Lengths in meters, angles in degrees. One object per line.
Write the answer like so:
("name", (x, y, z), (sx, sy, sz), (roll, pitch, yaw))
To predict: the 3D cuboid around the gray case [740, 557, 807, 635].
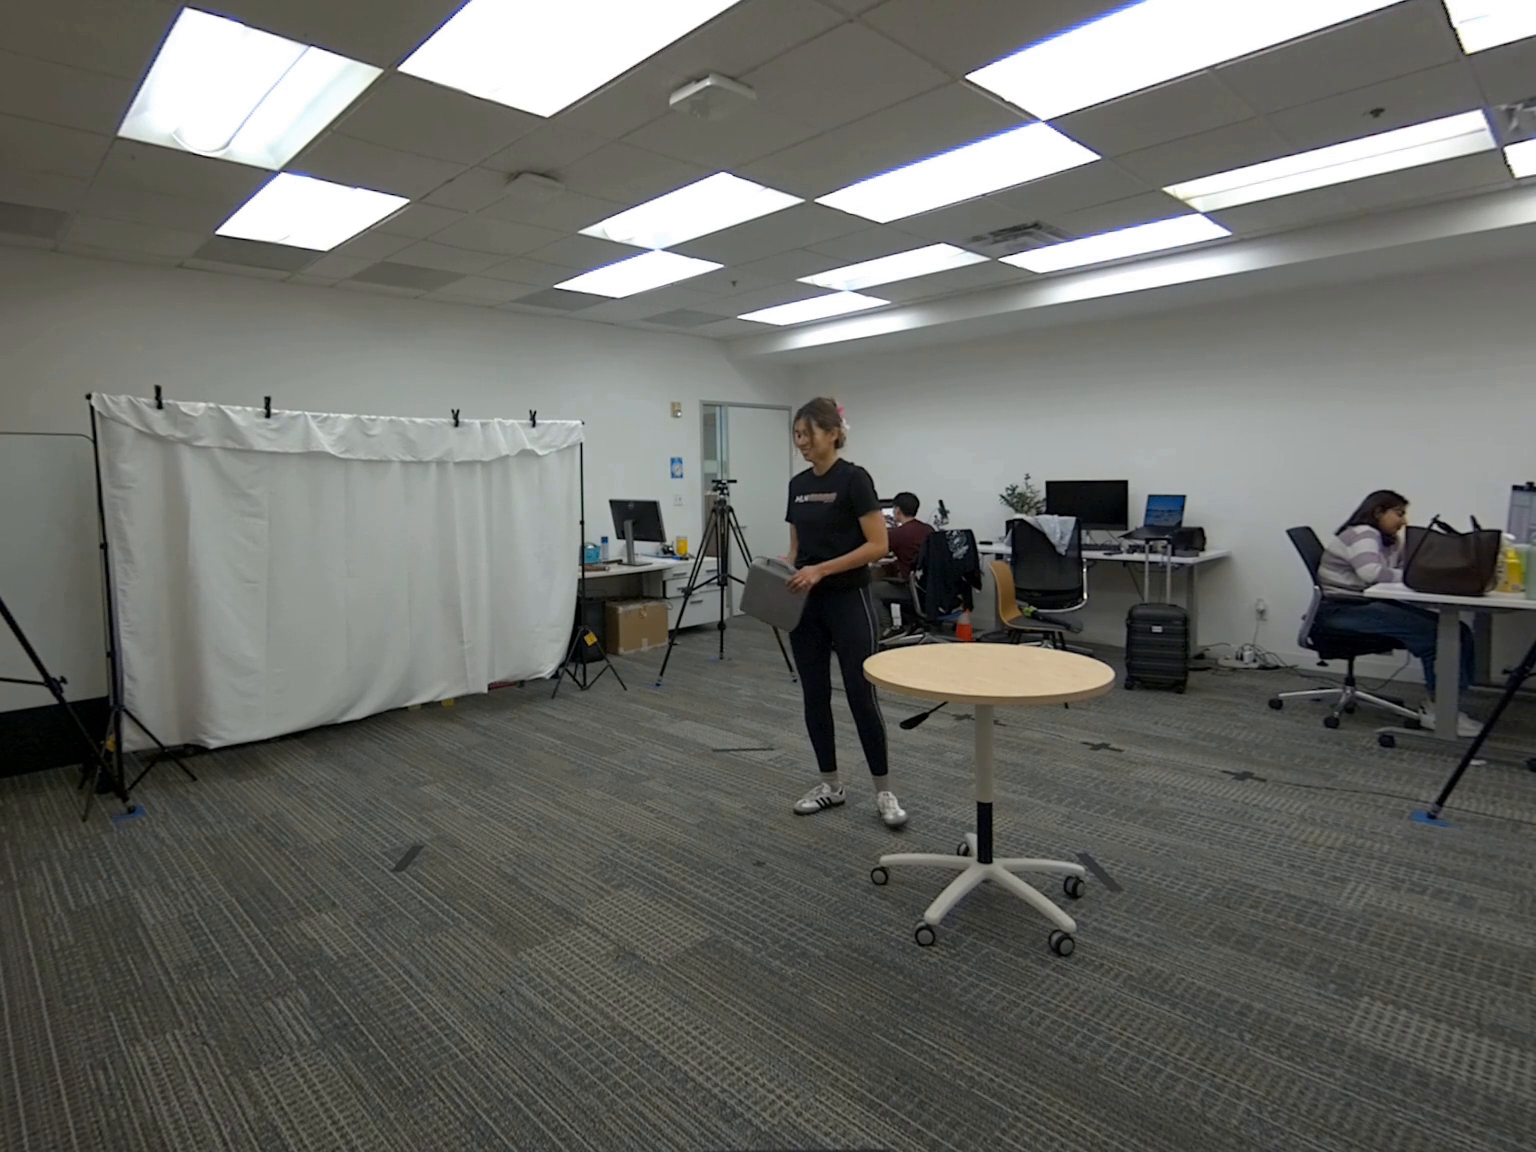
("gray case", (0.041, 0.068, 3.471), (0.262, 0.256, 0.104), (22, 32, 15))
